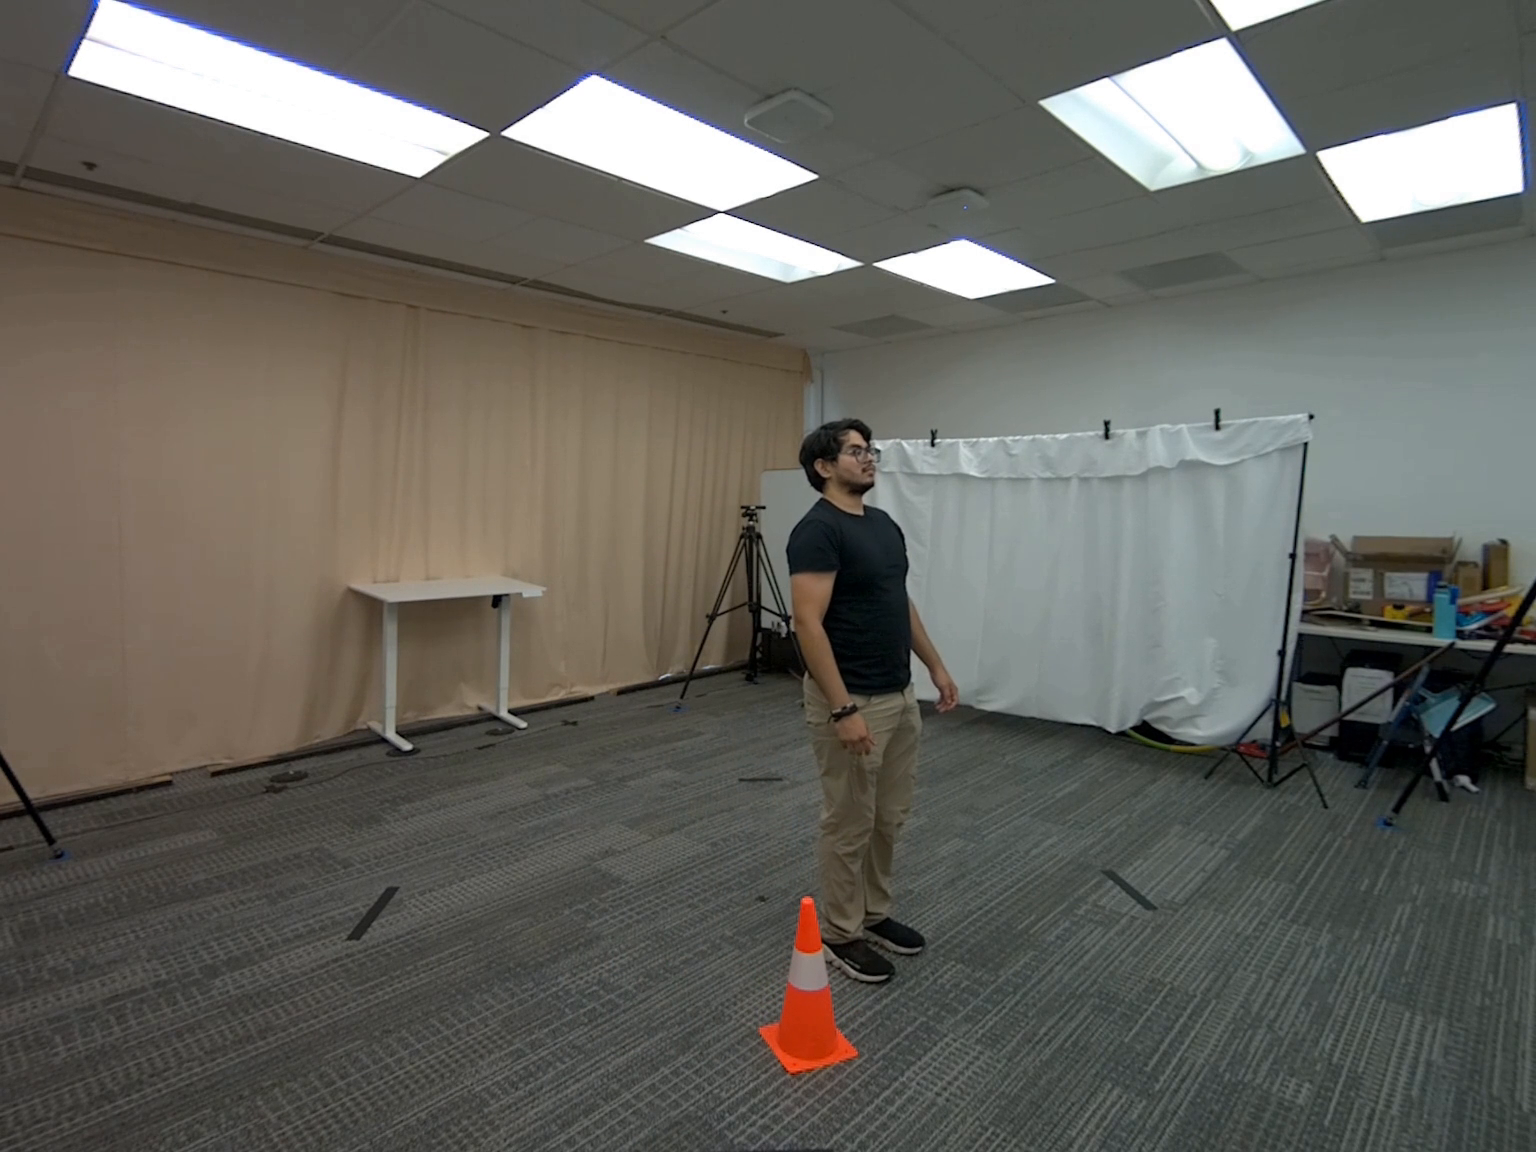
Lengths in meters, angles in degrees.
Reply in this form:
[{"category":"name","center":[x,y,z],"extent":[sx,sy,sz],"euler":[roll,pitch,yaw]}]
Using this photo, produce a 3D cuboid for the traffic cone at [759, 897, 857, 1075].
[{"category":"traffic cone","center":[0.105,1.029,2.168],"extent":[0.200,0.383,0.208],"euler":[-2,3,-25]}]
